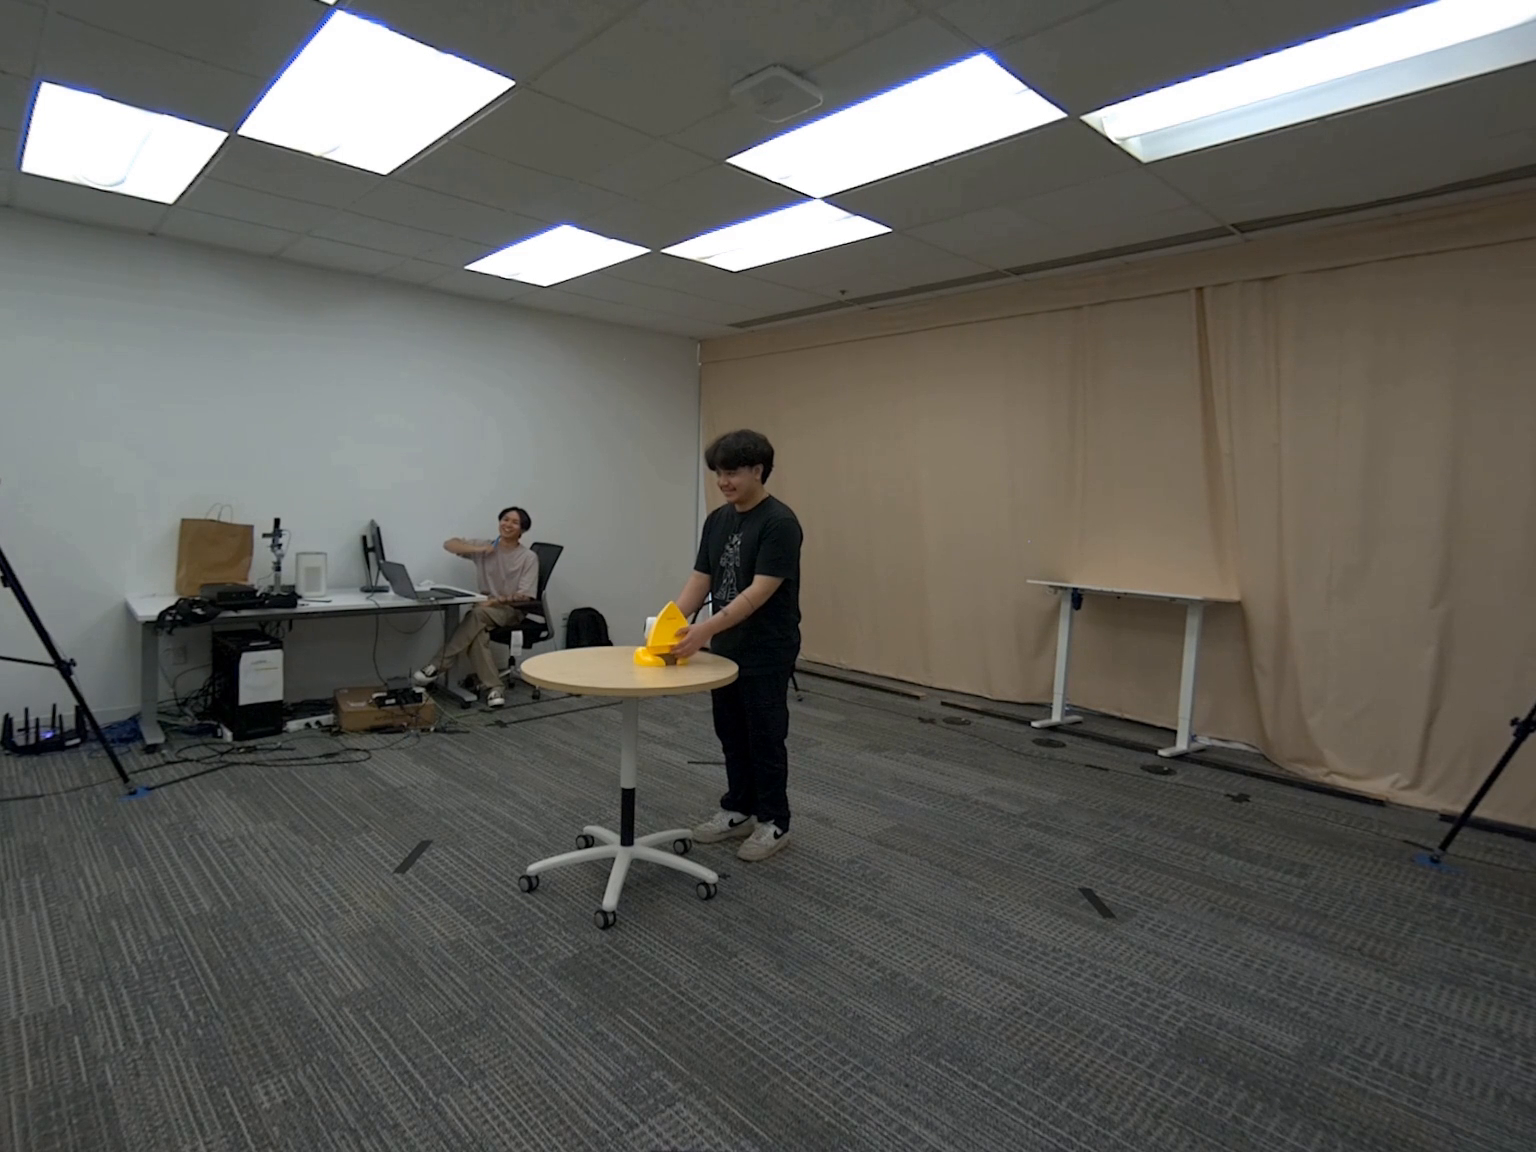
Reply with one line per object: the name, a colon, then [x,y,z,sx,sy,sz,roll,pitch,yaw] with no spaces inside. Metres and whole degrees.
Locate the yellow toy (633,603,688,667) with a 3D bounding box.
yellow toy: [-0.396,0.201,3.057,0.200,0.230,0.198,-2,5,-36]
